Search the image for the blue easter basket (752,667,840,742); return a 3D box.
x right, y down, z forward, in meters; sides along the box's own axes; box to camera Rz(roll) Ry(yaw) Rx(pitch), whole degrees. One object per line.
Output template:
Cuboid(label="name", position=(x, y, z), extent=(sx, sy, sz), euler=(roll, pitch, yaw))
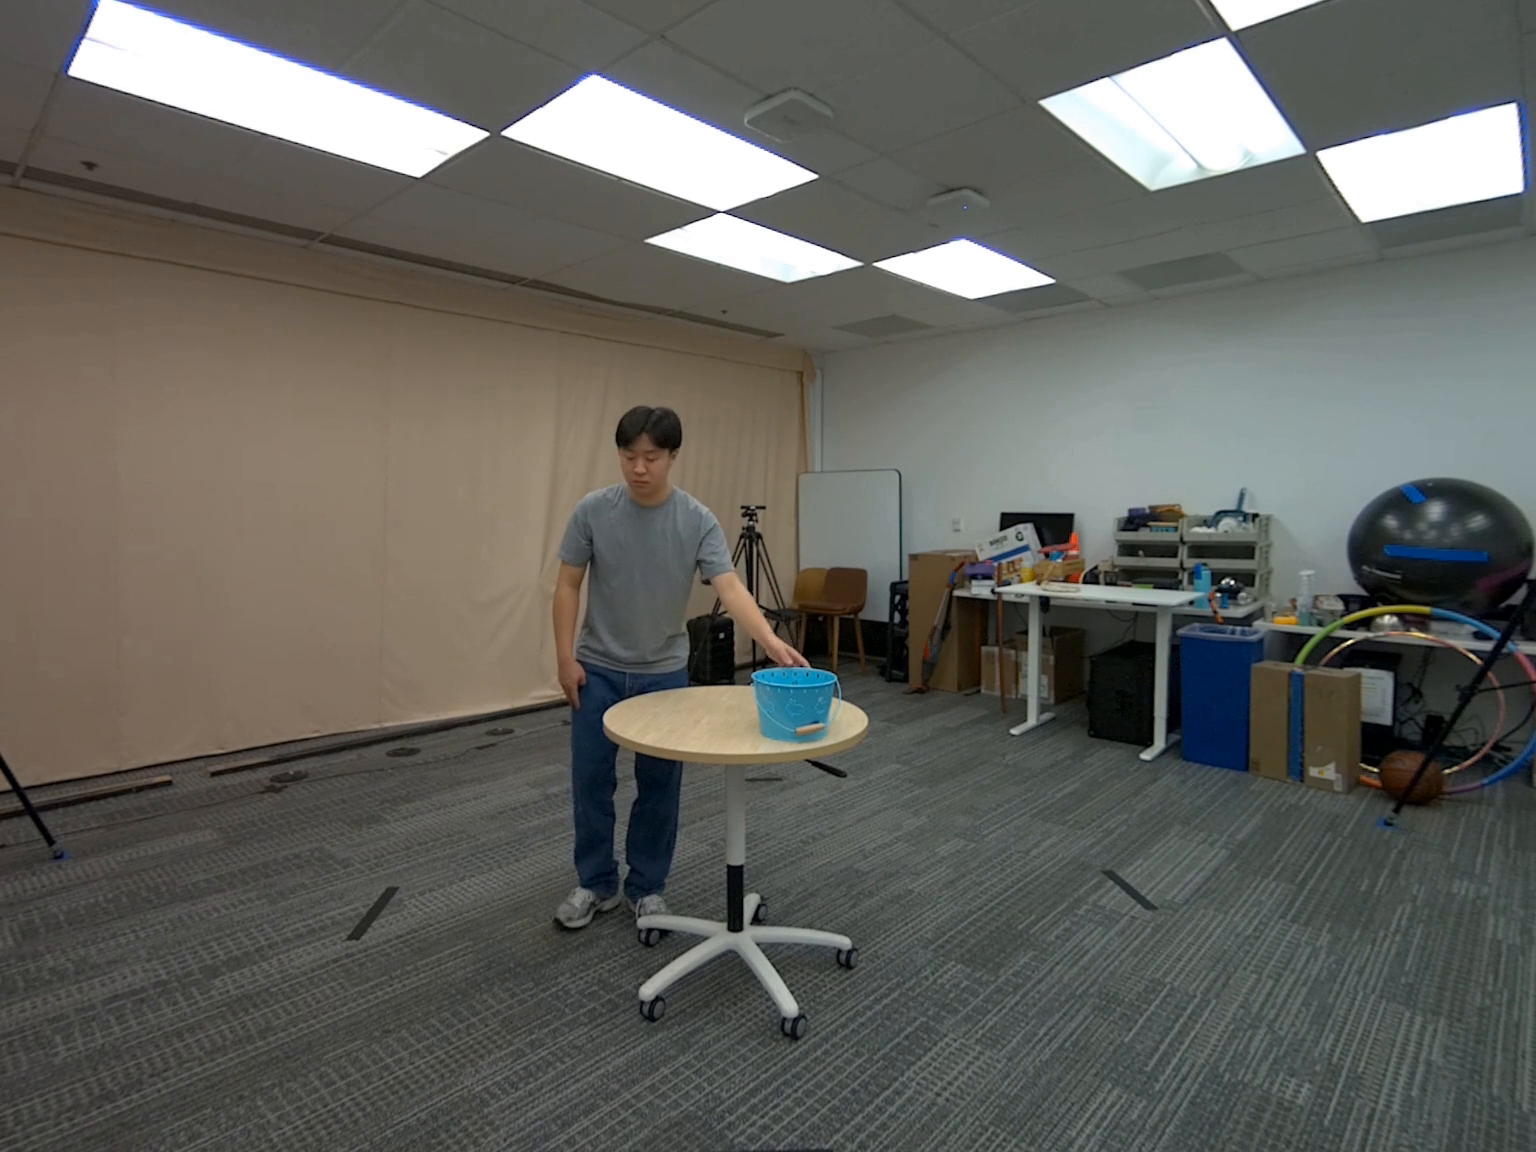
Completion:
Cuboid(label="blue easter basket", position=(0.072, 0.352, 2.252), extent=(0.243, 0.155, 0.244), euler=(0, 5, -2))
